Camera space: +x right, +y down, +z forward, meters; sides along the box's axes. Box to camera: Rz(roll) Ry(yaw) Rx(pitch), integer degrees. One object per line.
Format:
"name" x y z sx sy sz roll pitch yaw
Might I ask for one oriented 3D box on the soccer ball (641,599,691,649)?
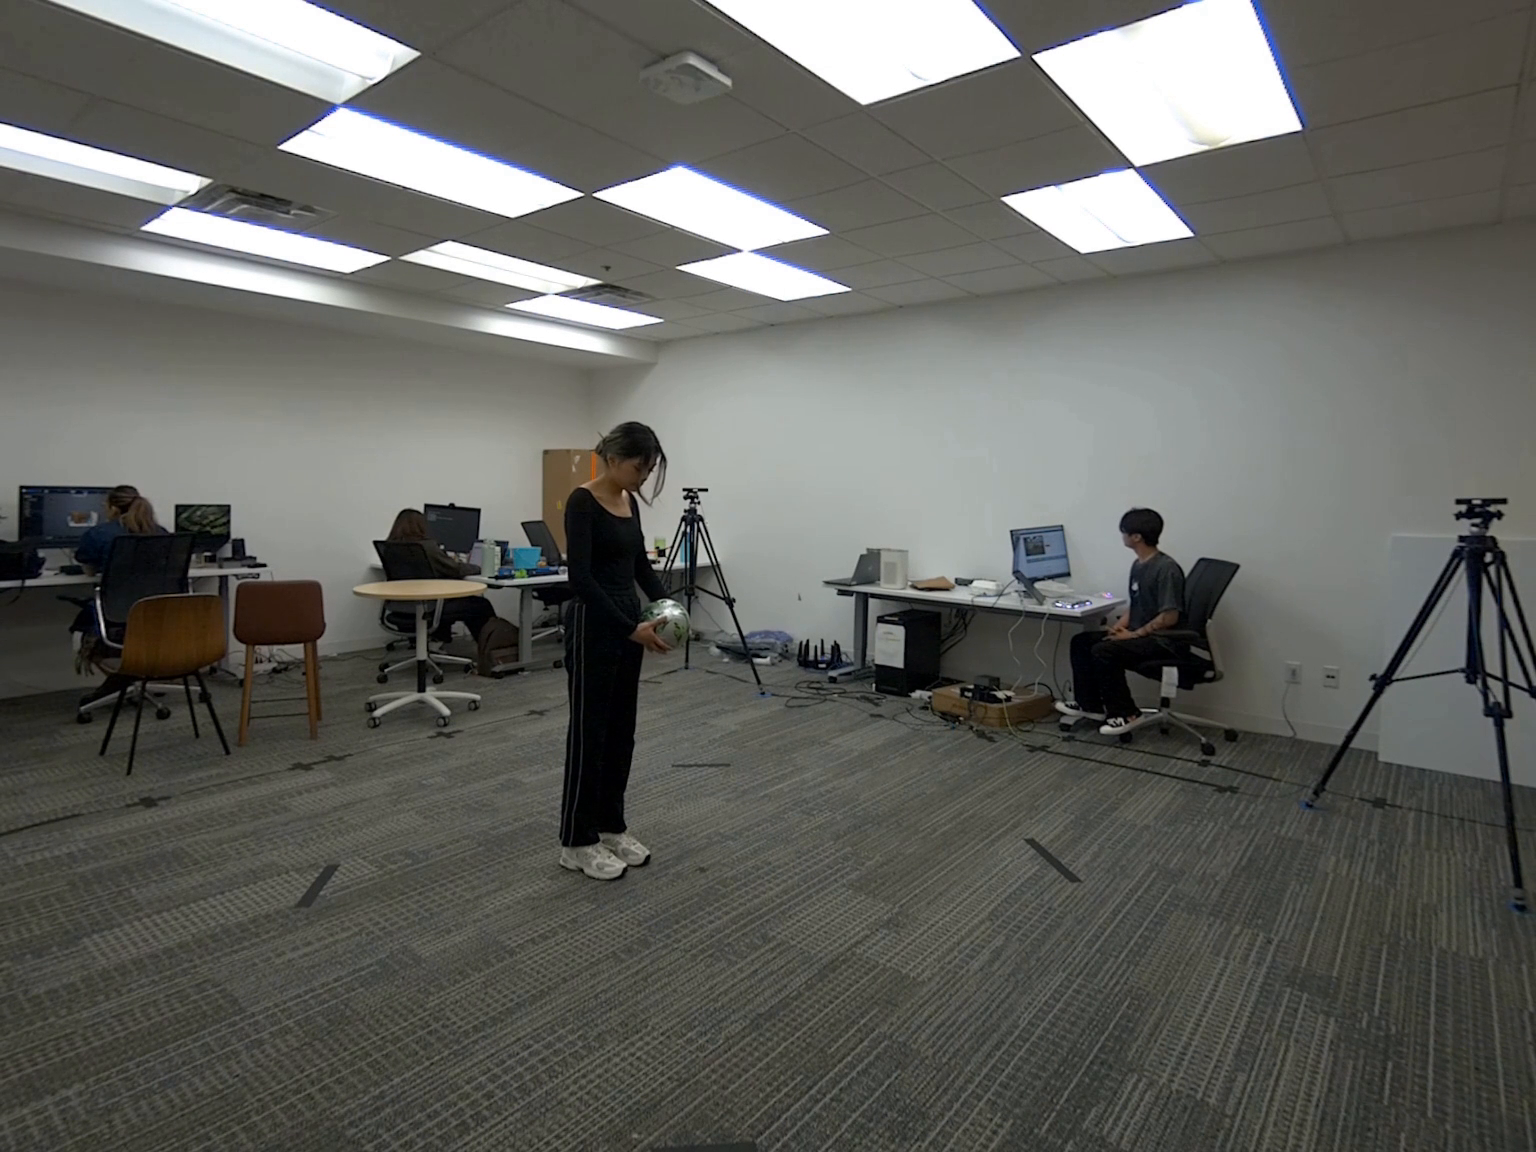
"soccer ball" -0.383 0.178 3.040 0.187 0.187 0.188 1 4 -2
